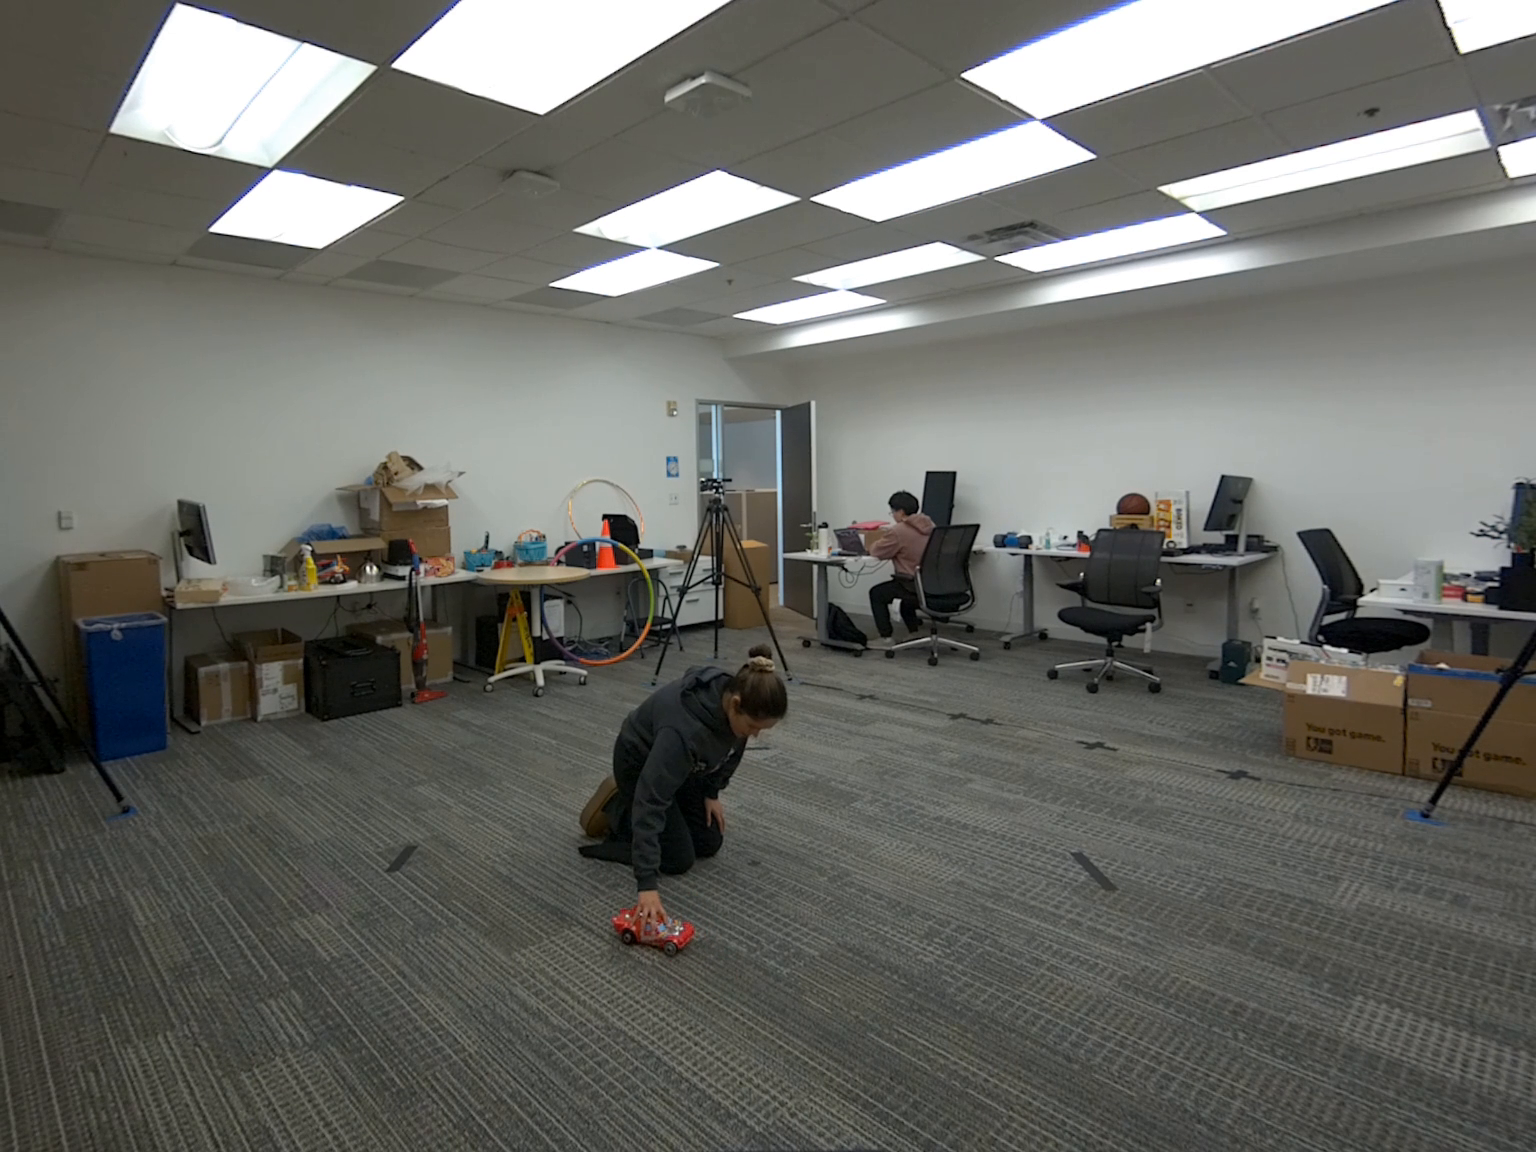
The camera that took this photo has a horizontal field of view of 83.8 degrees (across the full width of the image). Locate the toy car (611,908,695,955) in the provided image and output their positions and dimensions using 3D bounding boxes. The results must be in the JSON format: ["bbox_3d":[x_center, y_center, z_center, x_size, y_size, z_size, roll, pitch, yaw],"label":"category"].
[{"bbox_3d":[-0.342,1.083,2.585,0.261,0.082,0.128,14,12,23],"label":"toy car"}]
